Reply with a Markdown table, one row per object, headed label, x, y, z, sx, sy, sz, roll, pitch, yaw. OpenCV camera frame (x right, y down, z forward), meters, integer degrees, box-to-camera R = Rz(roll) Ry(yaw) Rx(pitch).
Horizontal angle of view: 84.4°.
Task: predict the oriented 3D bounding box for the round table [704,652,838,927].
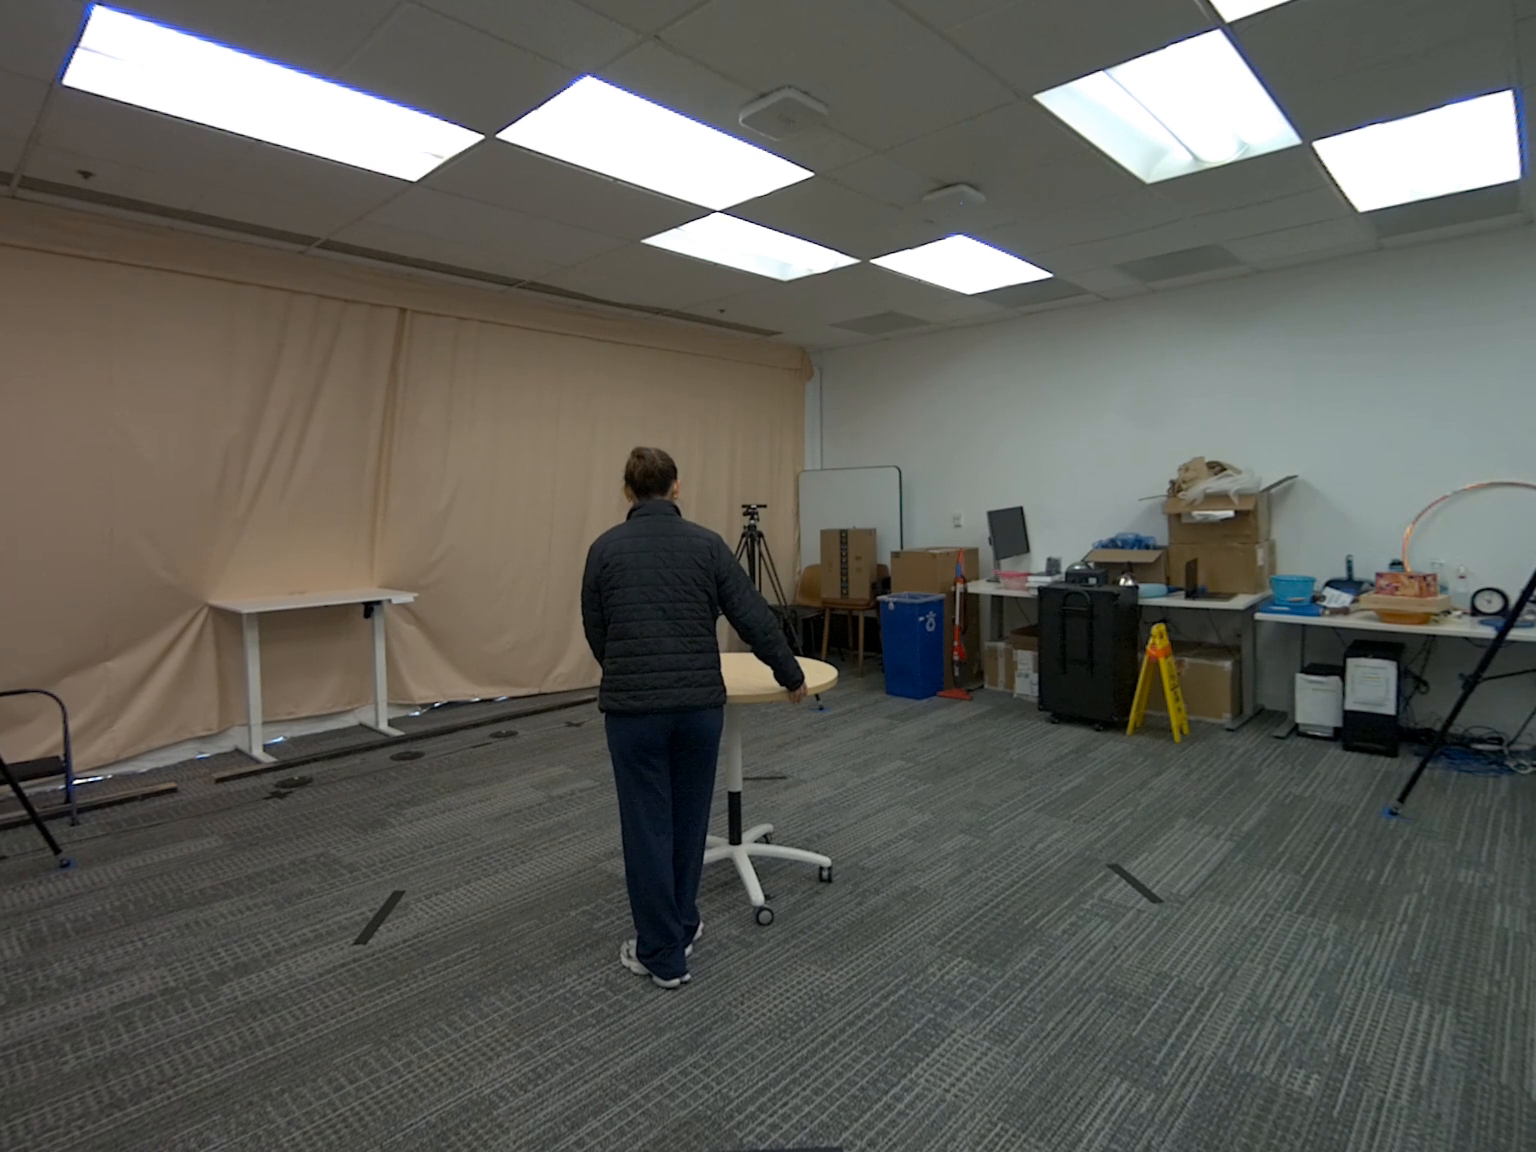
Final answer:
| label | x | y | z | sx | sy | sz | roll | pitch | yaw |
| --- | --- | --- | --- | --- | --- | --- | --- | --- | --- |
| round table | -0.096 | 0.739 | 3.099 | 0.784 | 0.784 | 0.788 | -2 | 4 | -2 |
